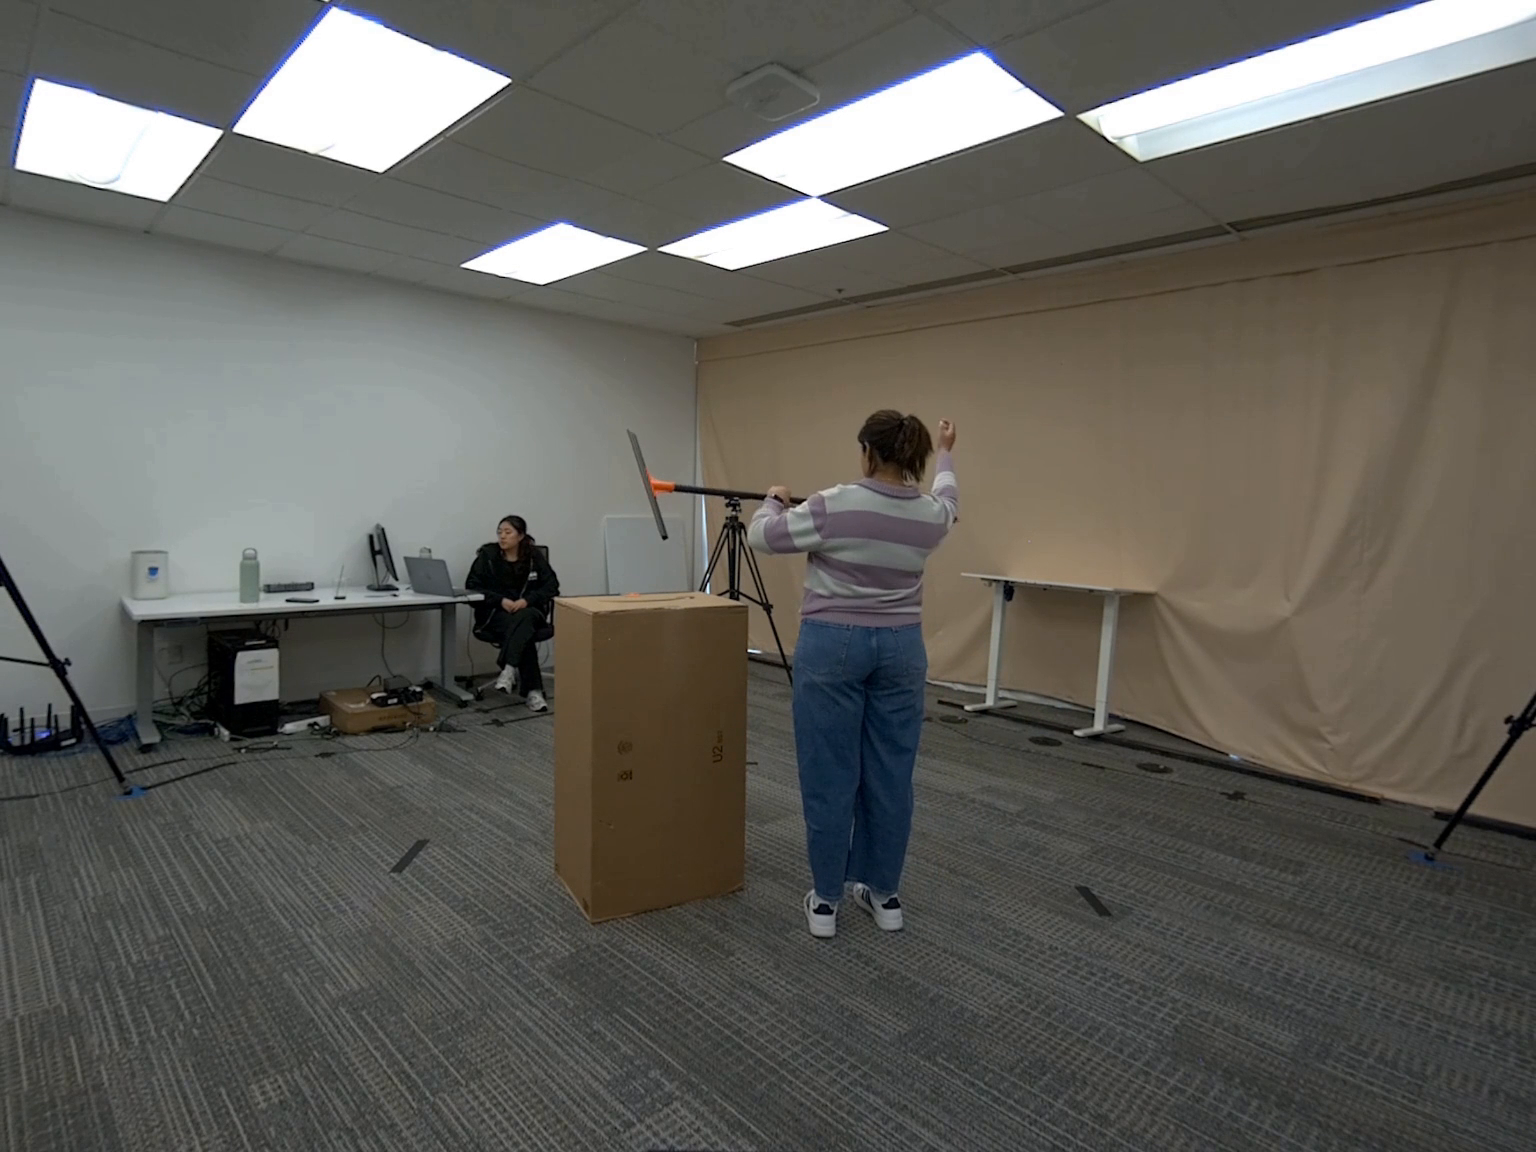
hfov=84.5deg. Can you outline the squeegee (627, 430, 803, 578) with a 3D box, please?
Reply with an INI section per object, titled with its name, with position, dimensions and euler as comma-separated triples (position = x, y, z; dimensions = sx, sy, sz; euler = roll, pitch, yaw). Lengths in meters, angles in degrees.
[squeegee]
position = 0.198, -0.260, 3.142
dimensions = 1.501, 0.449, 0.053
euler = 4, -39, -35
